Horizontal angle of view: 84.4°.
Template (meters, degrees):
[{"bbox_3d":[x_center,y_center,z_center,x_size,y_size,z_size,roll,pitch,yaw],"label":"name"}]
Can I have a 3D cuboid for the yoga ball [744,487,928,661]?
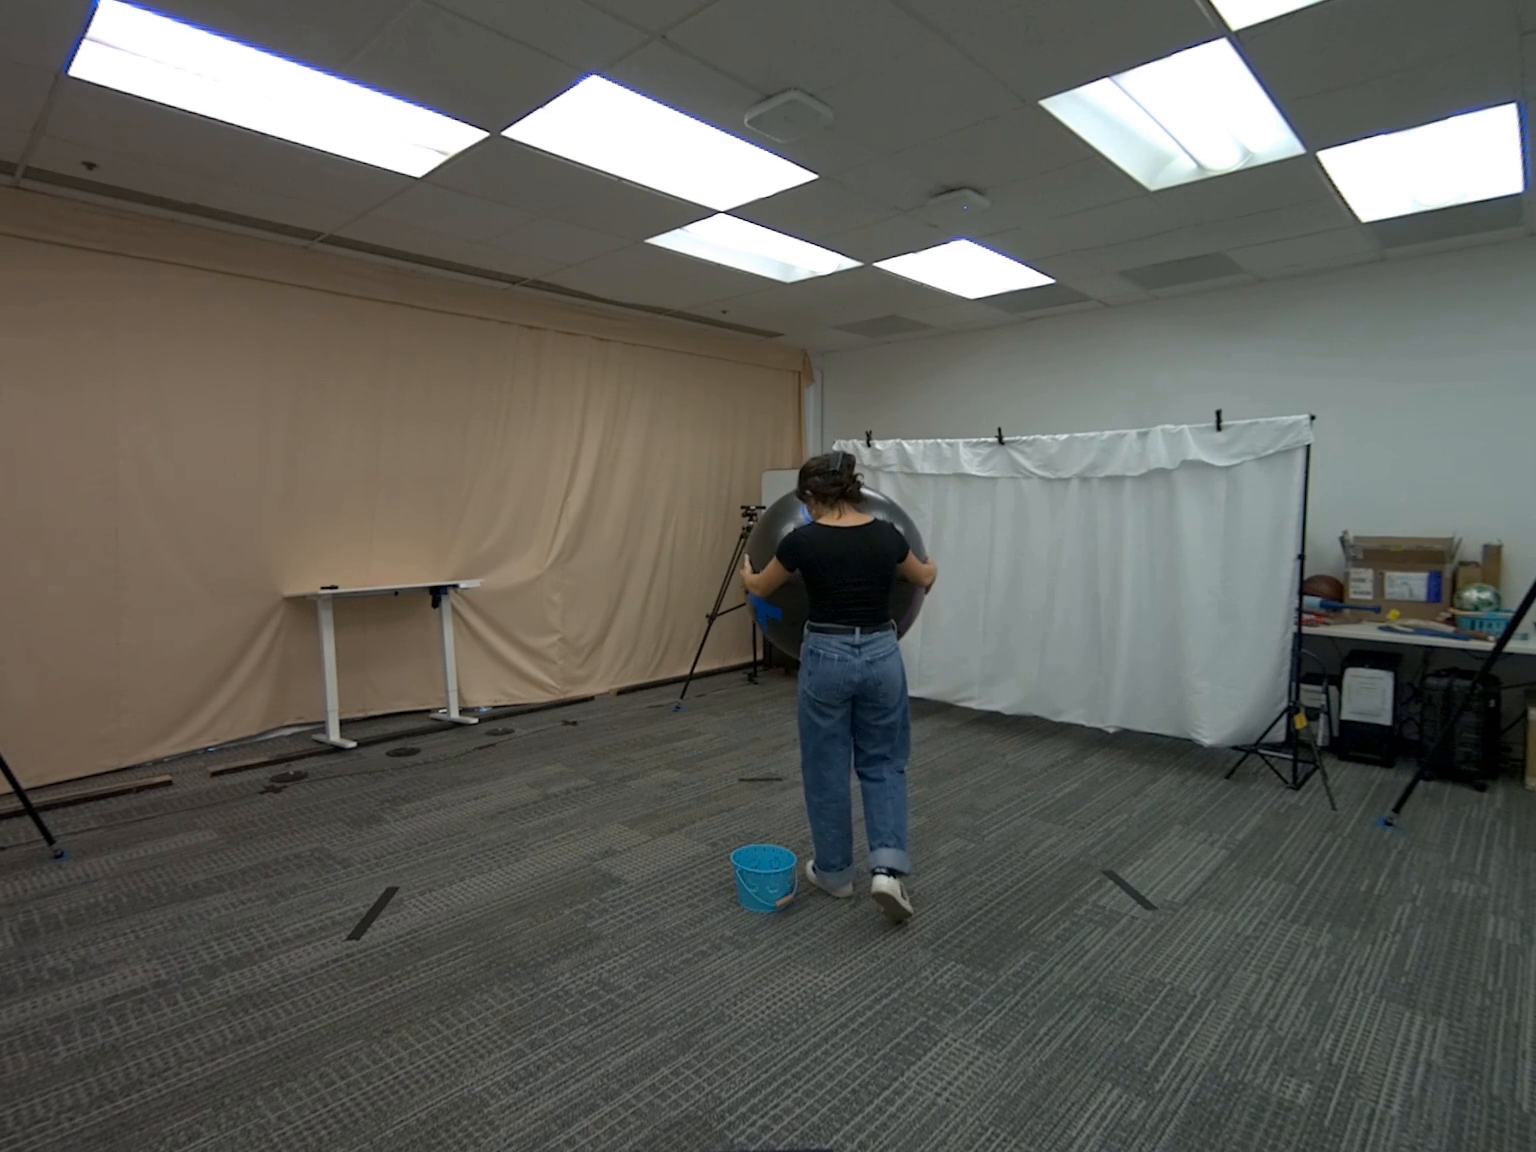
[{"bbox_3d":[0.269,-0.005,3.458,0.757,0.756,0.760,0,4,-2],"label":"yoga ball"}]
